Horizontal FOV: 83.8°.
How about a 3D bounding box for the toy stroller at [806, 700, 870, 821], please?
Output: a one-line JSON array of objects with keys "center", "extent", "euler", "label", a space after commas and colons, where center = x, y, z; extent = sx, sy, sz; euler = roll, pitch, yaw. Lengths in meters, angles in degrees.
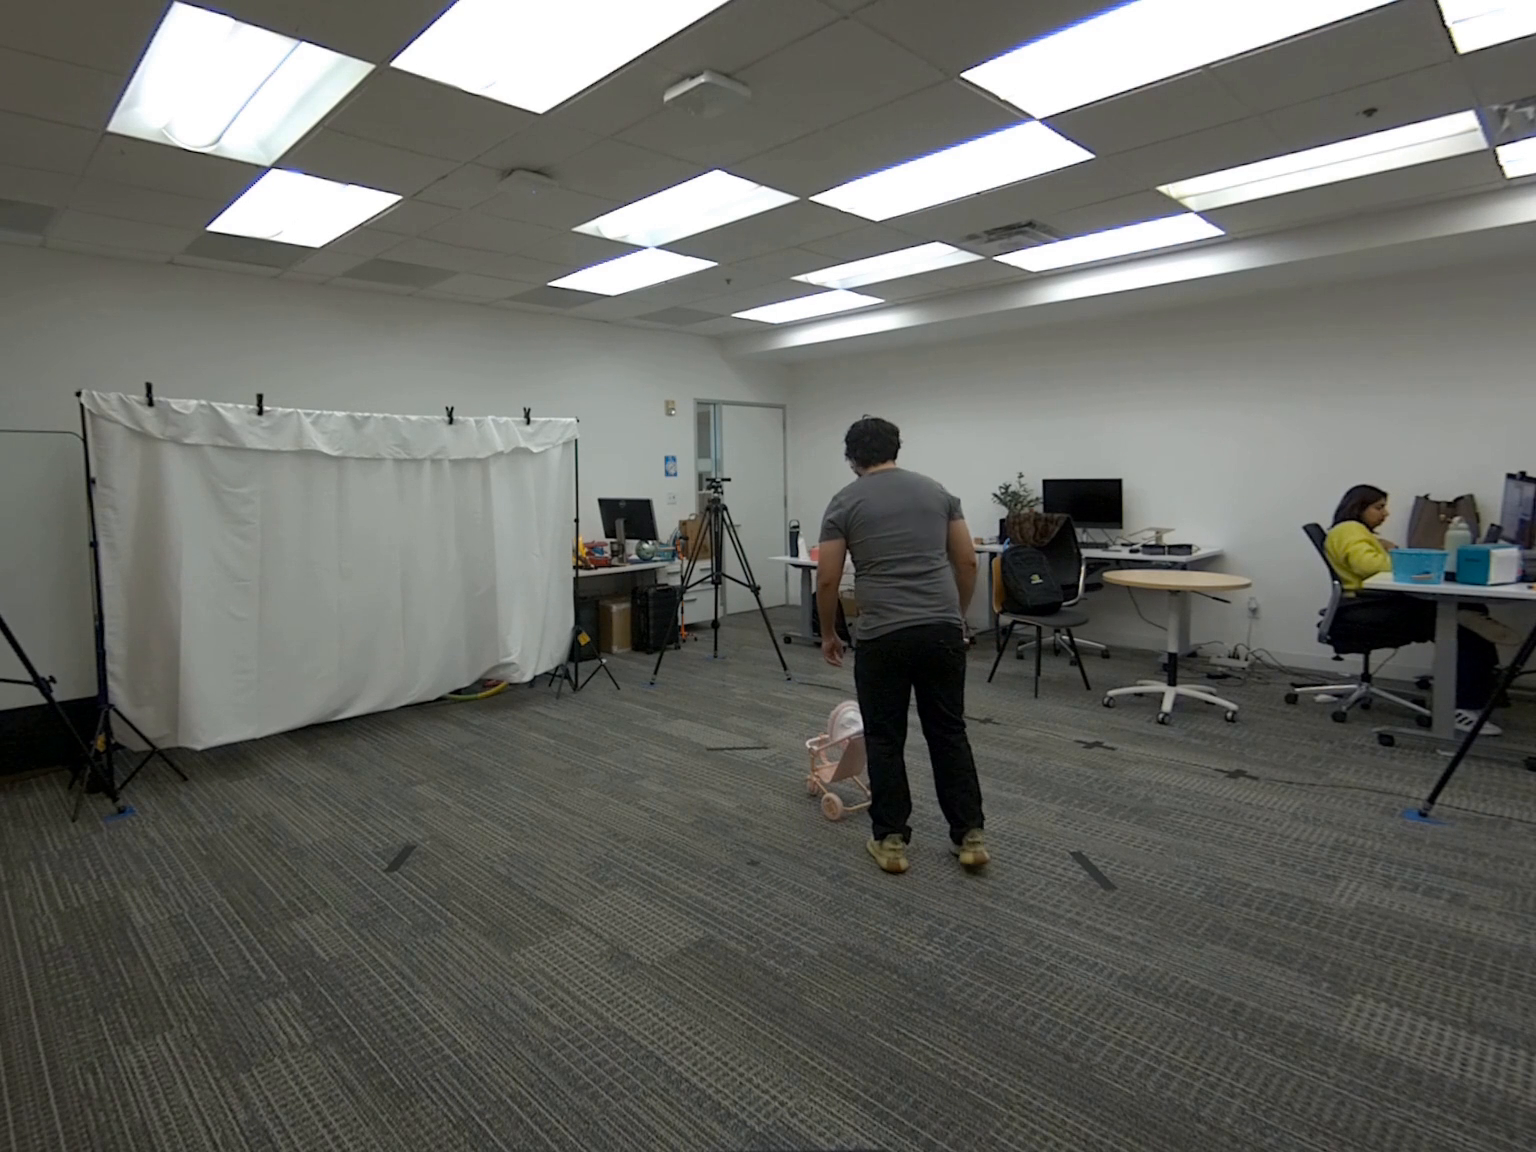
[{"center": [0.321, 0.759, 3.594], "extent": [0.274, 0.528, 0.354], "euler": [-3, 22, -34], "label": "toy stroller"}]
